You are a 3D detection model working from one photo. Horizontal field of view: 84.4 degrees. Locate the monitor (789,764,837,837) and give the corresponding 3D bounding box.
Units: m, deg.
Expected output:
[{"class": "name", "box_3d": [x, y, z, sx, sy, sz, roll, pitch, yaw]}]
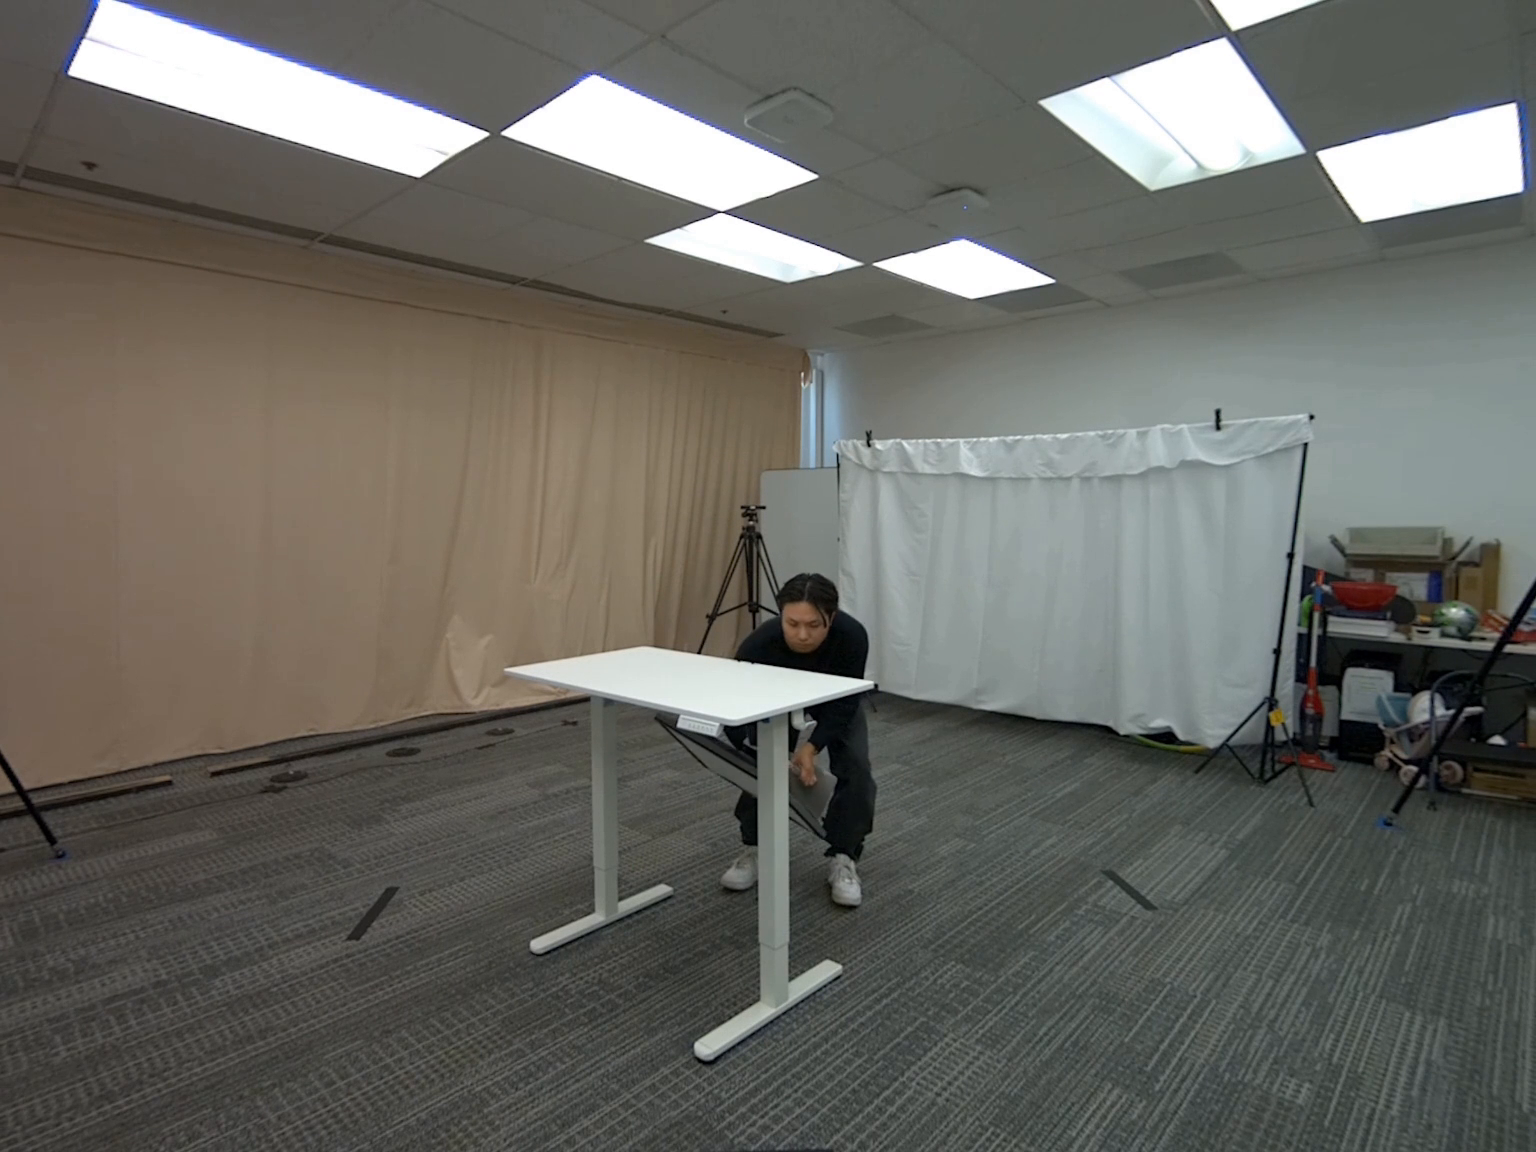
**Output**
[{"class": "monitor", "box_3d": [-0.055, 0.636, 2.766, 0.550, 0.175, 0.497, 21, -7, 42]}]
